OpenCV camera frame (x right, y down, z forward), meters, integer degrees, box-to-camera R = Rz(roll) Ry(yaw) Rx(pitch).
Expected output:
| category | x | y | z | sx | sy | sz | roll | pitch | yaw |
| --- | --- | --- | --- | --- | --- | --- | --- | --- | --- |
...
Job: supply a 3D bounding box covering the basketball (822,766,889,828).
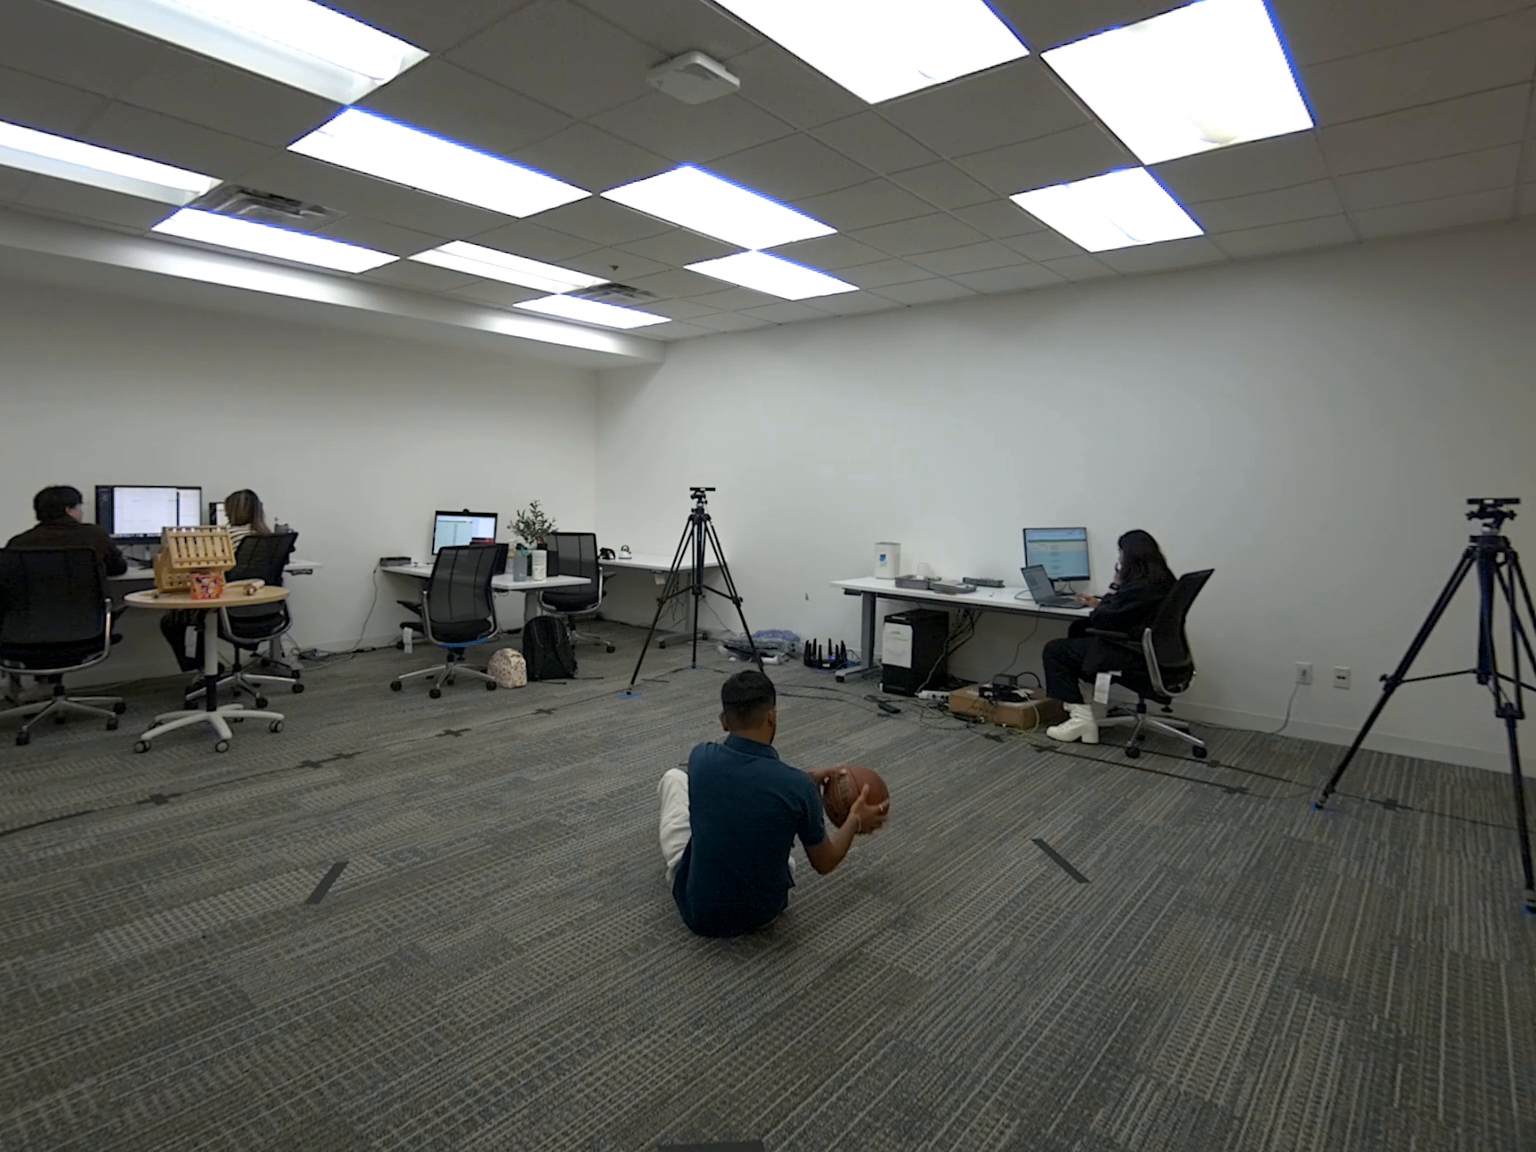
| category | x | y | z | sx | sy | sz | roll | pitch | yaw |
| --- | --- | --- | --- | --- | --- | --- | --- | --- | --- |
| basketball | 0.305 | 0.797 | 3.056 | 0.235 | 0.235 | 0.237 | 1 | 4 | -2 |
